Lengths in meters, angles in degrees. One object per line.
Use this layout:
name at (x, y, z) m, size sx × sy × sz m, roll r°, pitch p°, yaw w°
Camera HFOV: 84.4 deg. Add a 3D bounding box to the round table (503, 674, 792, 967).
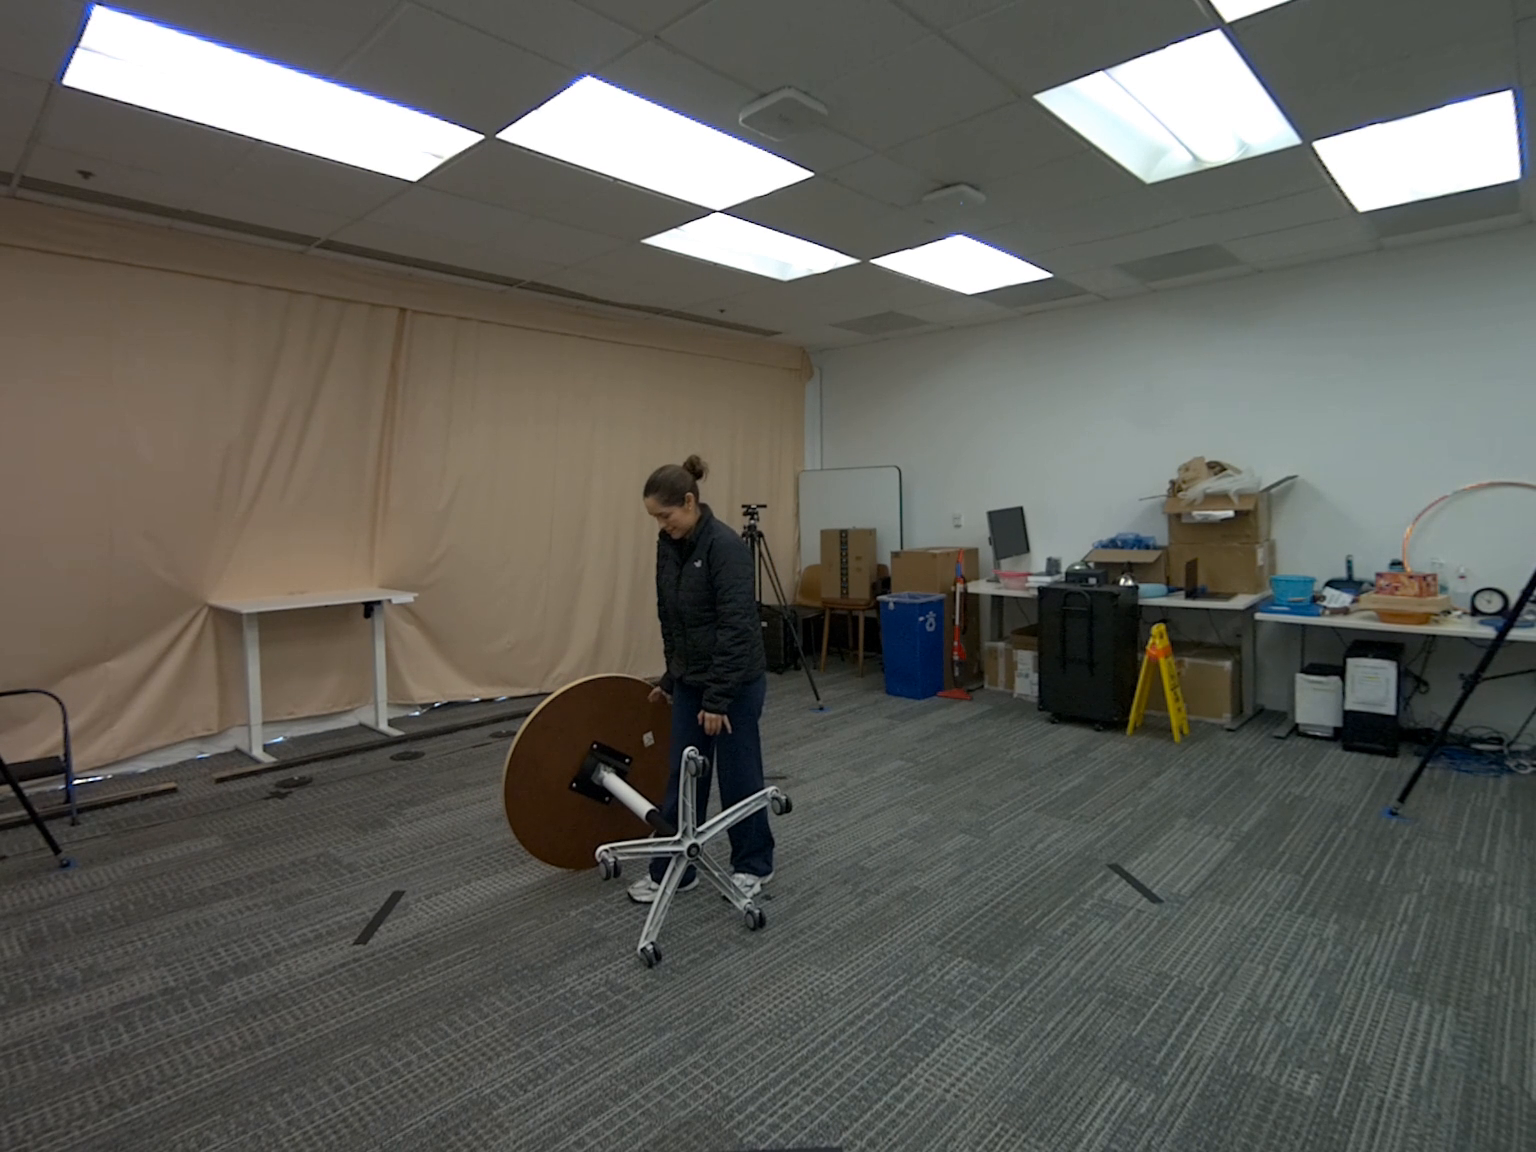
round table at (-0.404, 0.817, 2.925) m, size 0.762 × 0.781 × 0.813 m, roll -4°, pitch 11°, yaw -35°
